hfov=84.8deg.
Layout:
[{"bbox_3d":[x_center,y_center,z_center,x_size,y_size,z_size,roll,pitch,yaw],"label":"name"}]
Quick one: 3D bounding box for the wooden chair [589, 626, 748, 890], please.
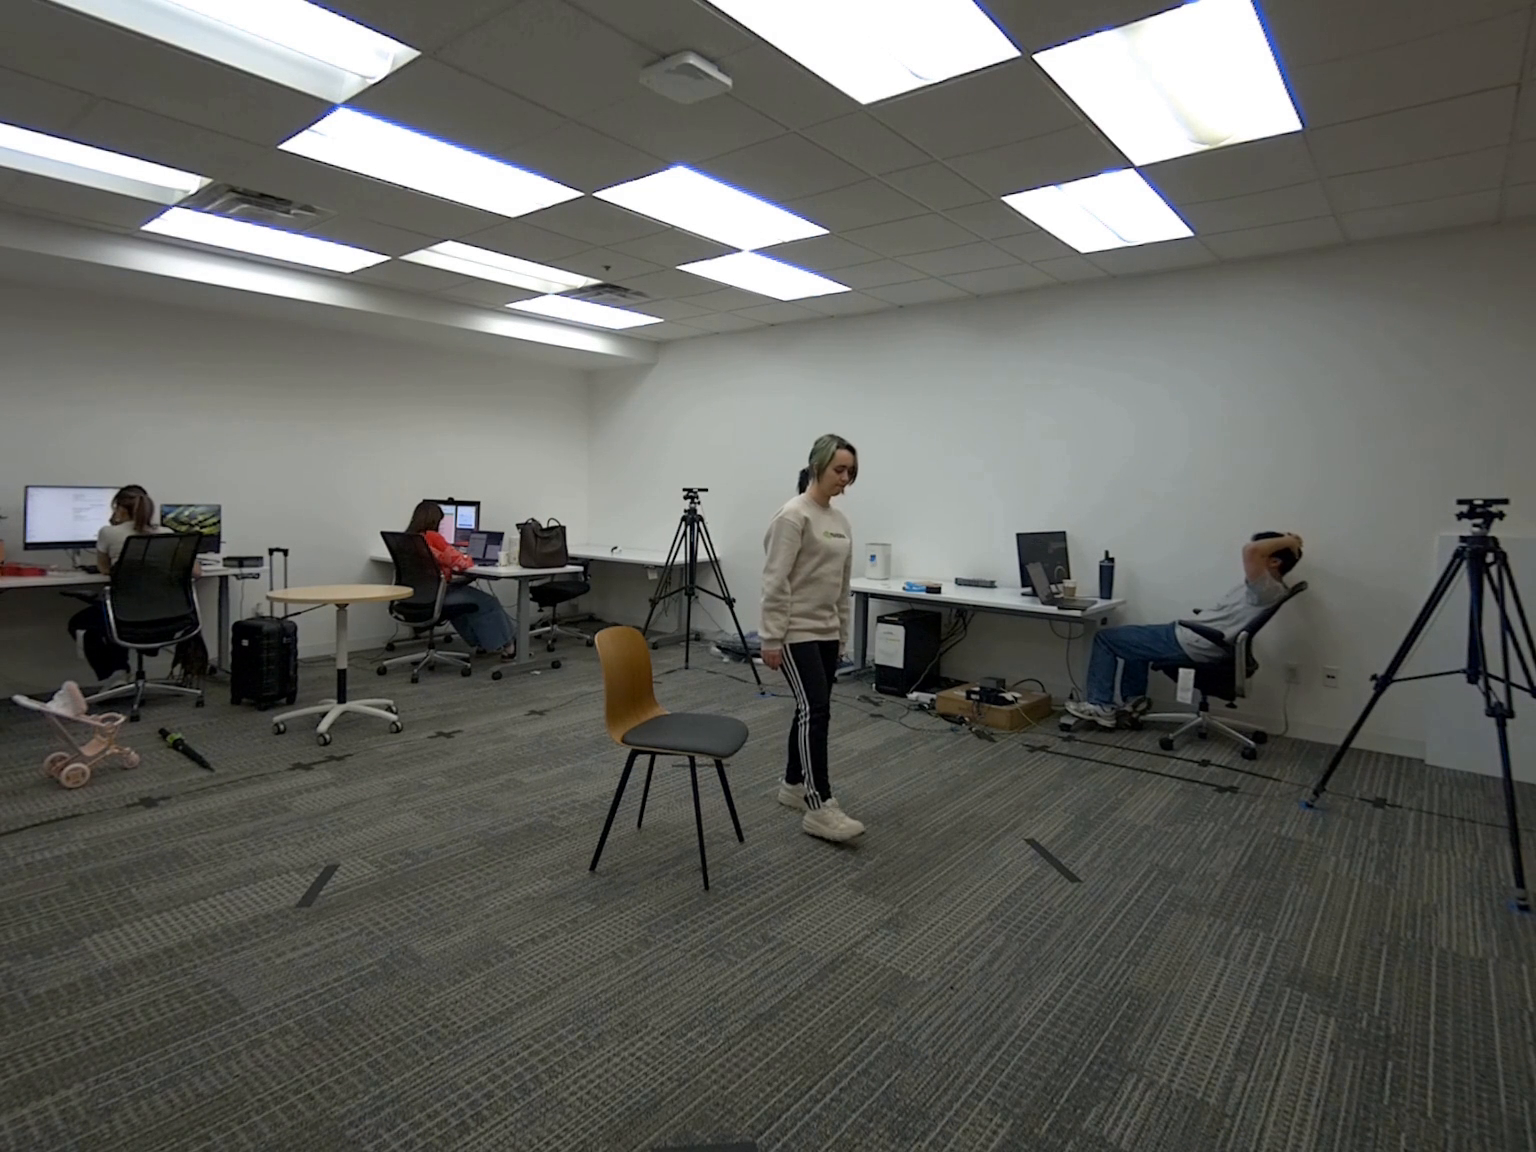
[{"bbox_3d":[-0.362,0.631,3.191,0.532,0.876,0.470,-3,2,17],"label":"wooden chair"}]
